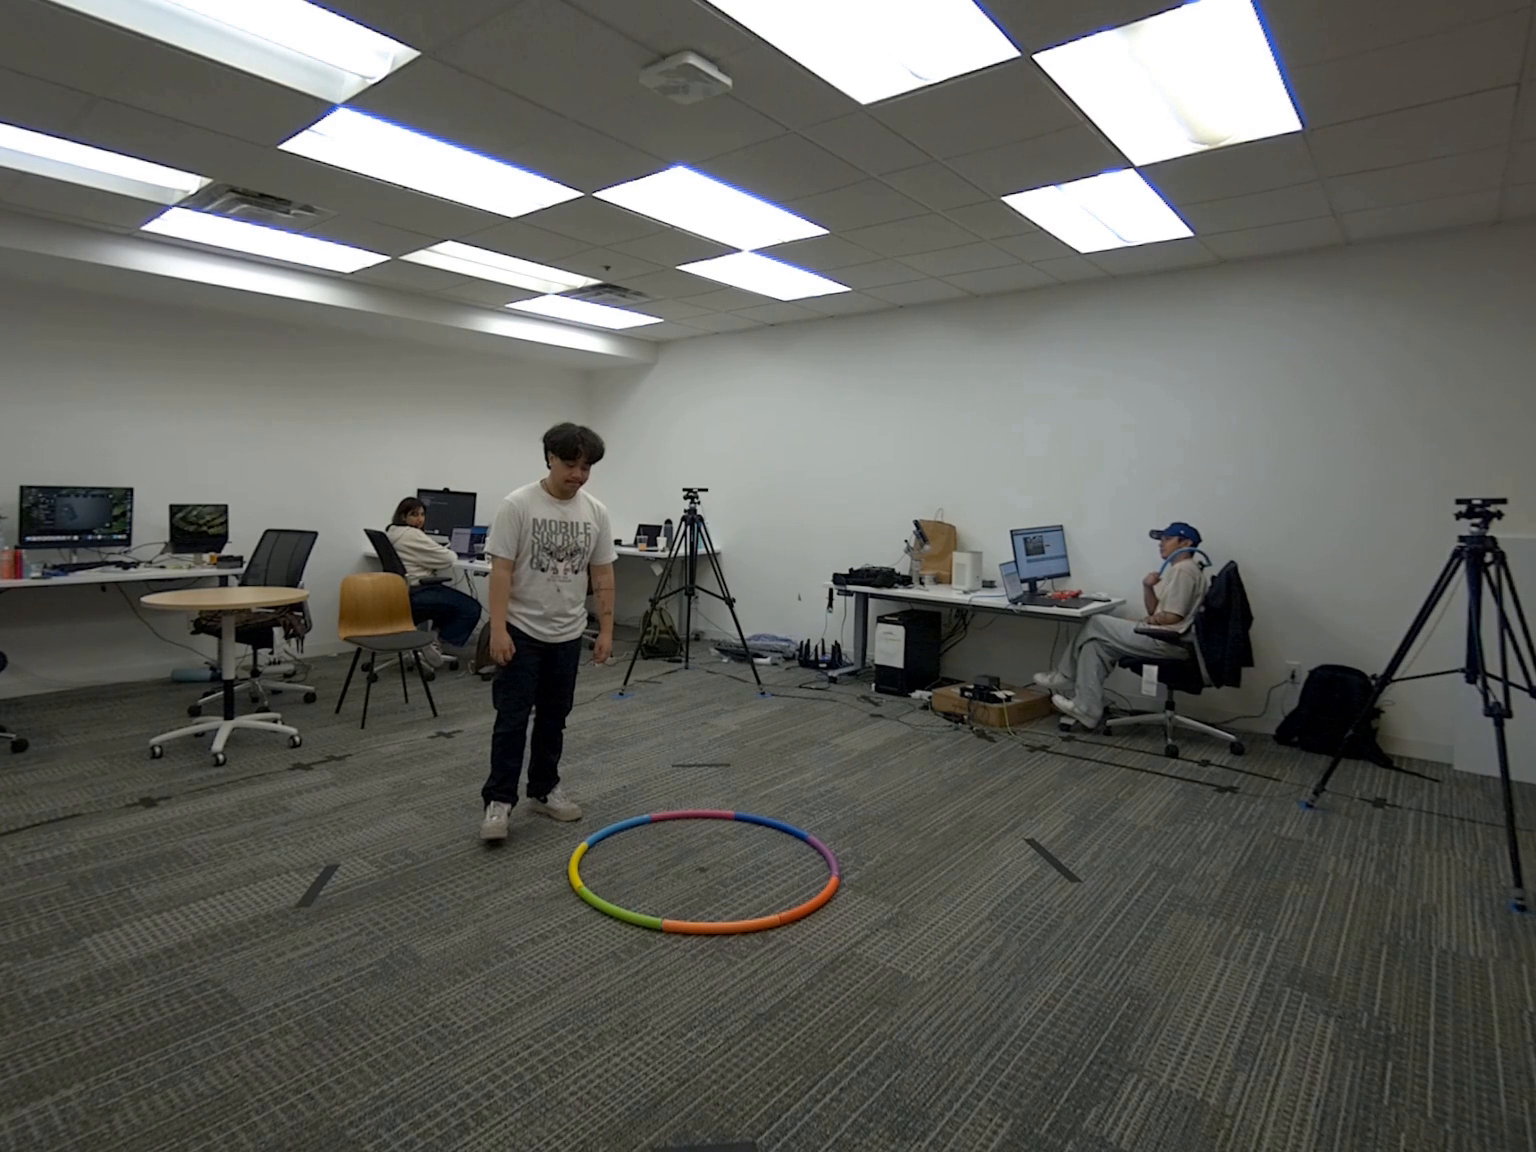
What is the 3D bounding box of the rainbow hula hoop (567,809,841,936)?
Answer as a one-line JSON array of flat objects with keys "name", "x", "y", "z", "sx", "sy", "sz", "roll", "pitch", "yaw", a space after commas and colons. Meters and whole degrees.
[{"name": "rainbow hula hoop", "x": -0.244, "y": 1.041, "z": 3.126, "sx": 0.984, "sy": 0.051, "sz": 0.991, "roll": 1, "pitch": 6, "yaw": -2}]
